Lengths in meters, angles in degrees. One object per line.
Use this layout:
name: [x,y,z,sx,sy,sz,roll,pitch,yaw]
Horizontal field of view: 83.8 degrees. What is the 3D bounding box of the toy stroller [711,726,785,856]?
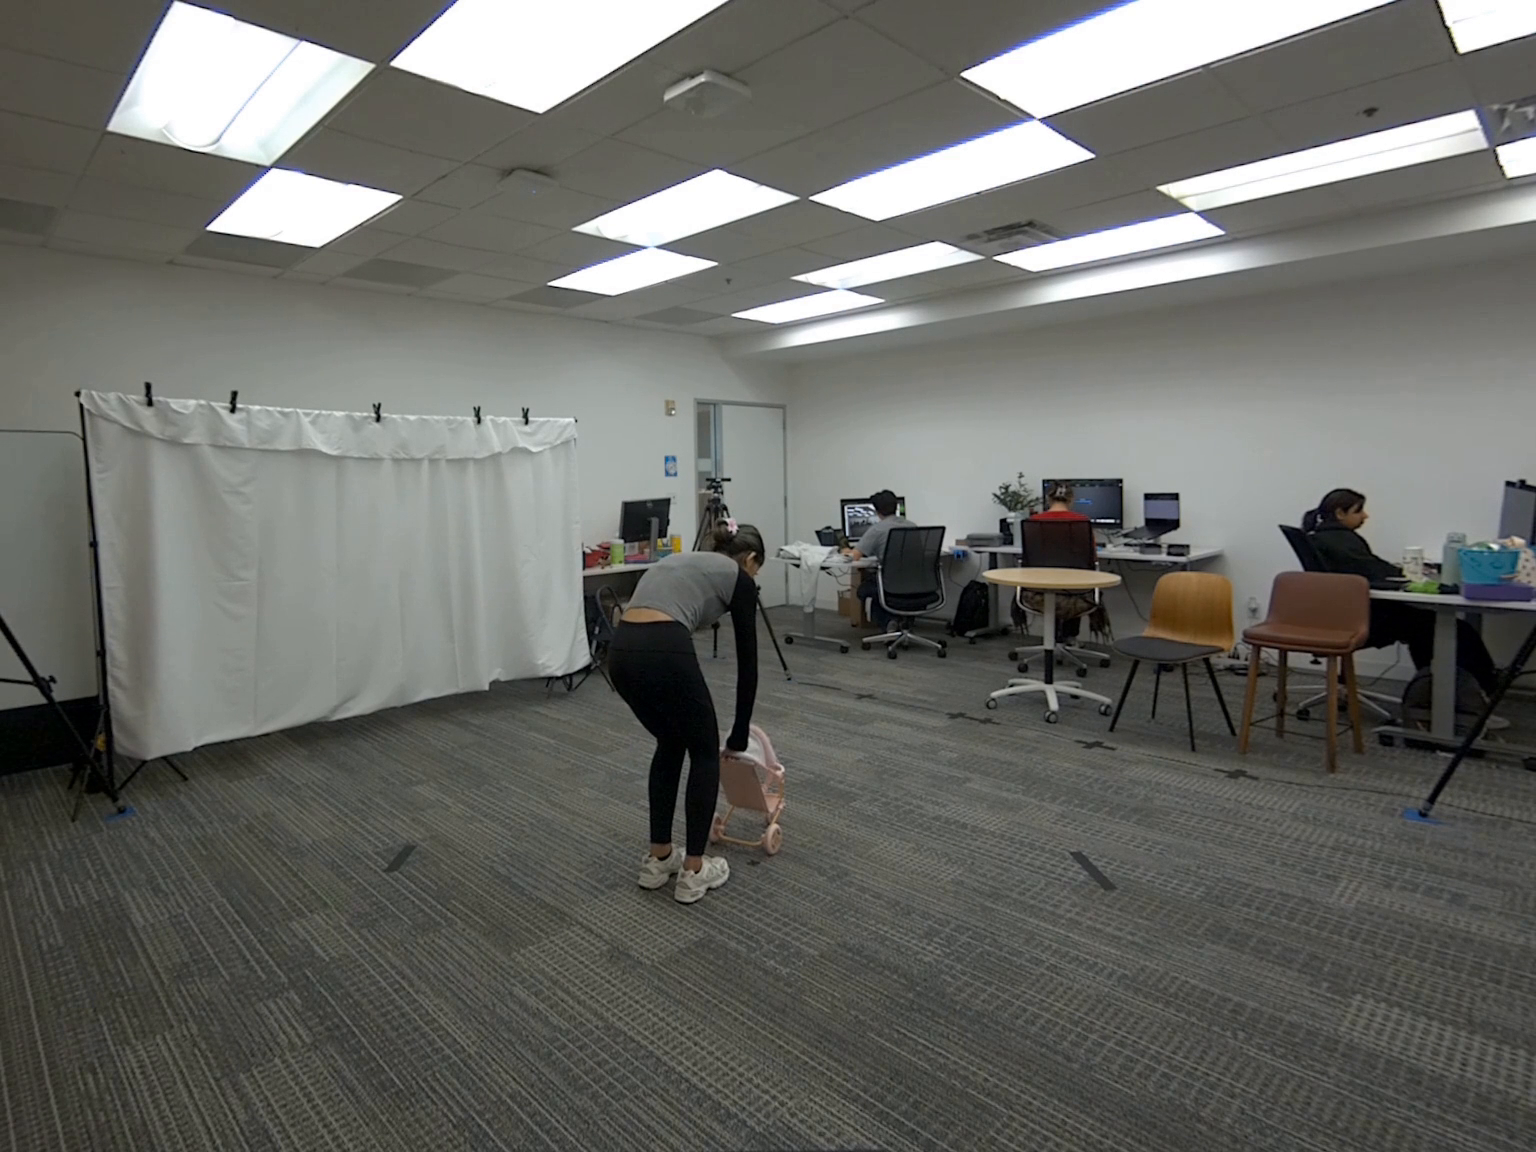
toy stroller: [-0.066,0.798,3.280,0.289,0.526,0.338,3,21,29]
